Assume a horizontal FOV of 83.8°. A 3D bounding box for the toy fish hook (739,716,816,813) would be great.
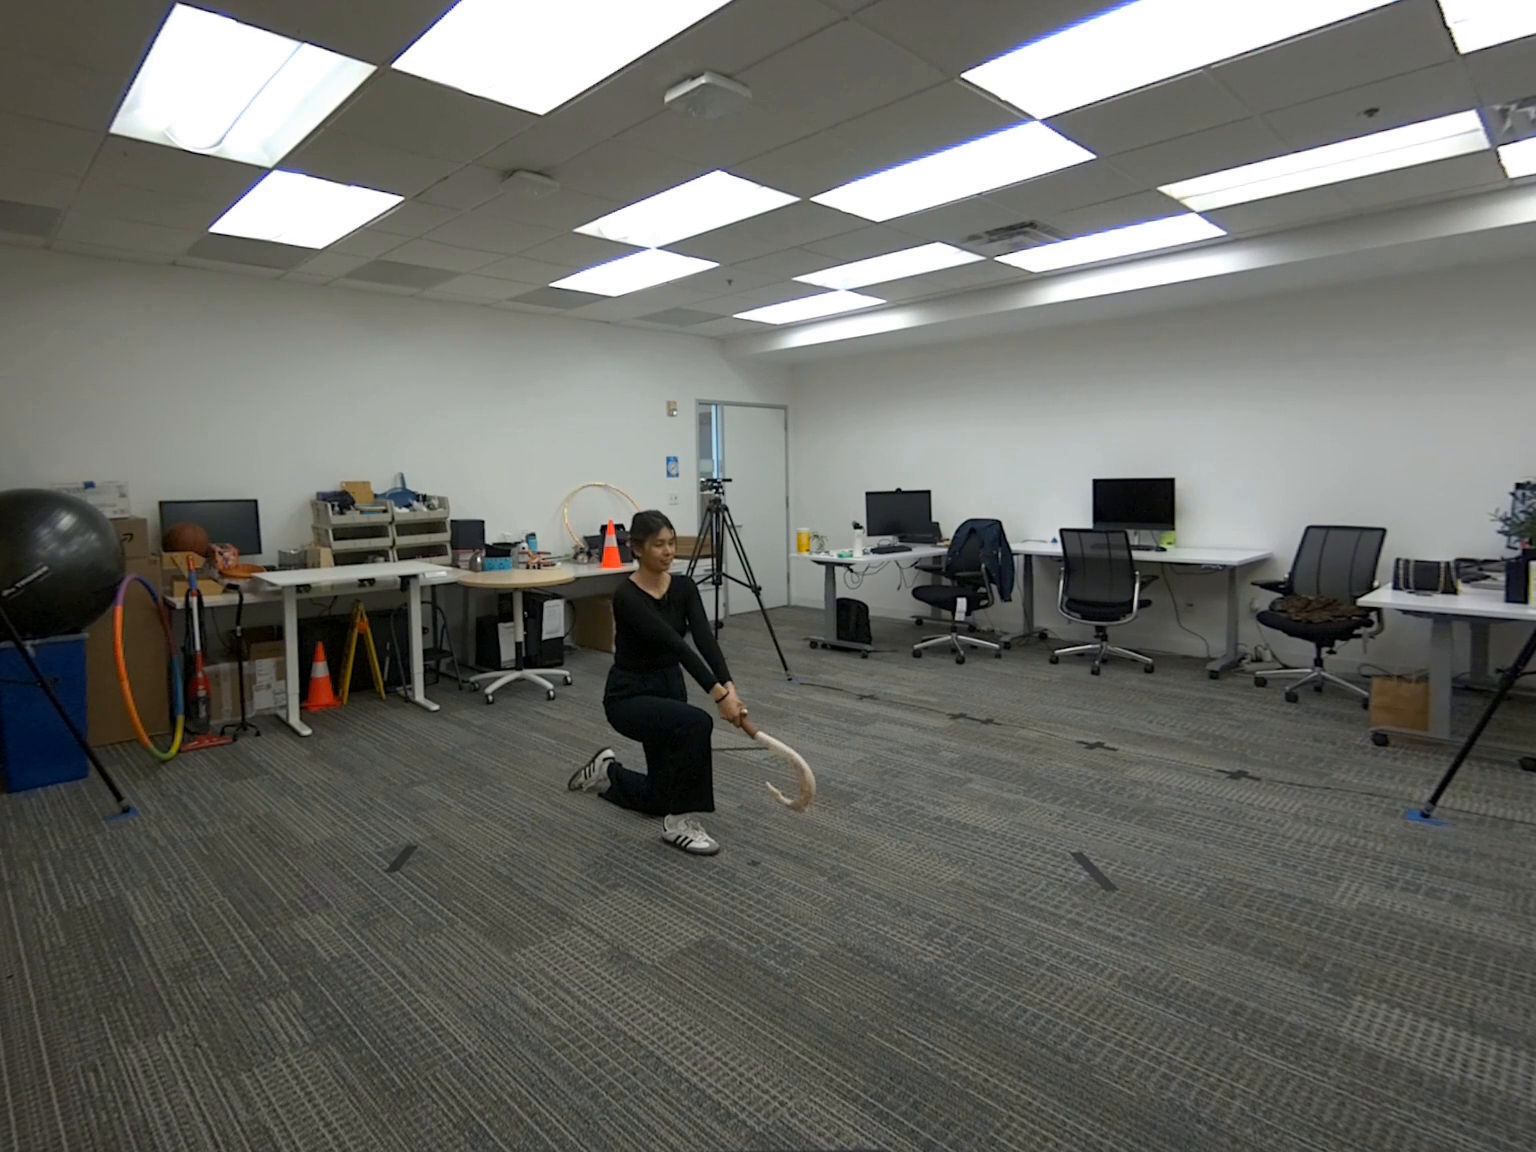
[{"bbox_3d":[0.000,0.601,3.054,0.047,0.222,0.526,0,30,-45],"label":"toy fish hook"}]
